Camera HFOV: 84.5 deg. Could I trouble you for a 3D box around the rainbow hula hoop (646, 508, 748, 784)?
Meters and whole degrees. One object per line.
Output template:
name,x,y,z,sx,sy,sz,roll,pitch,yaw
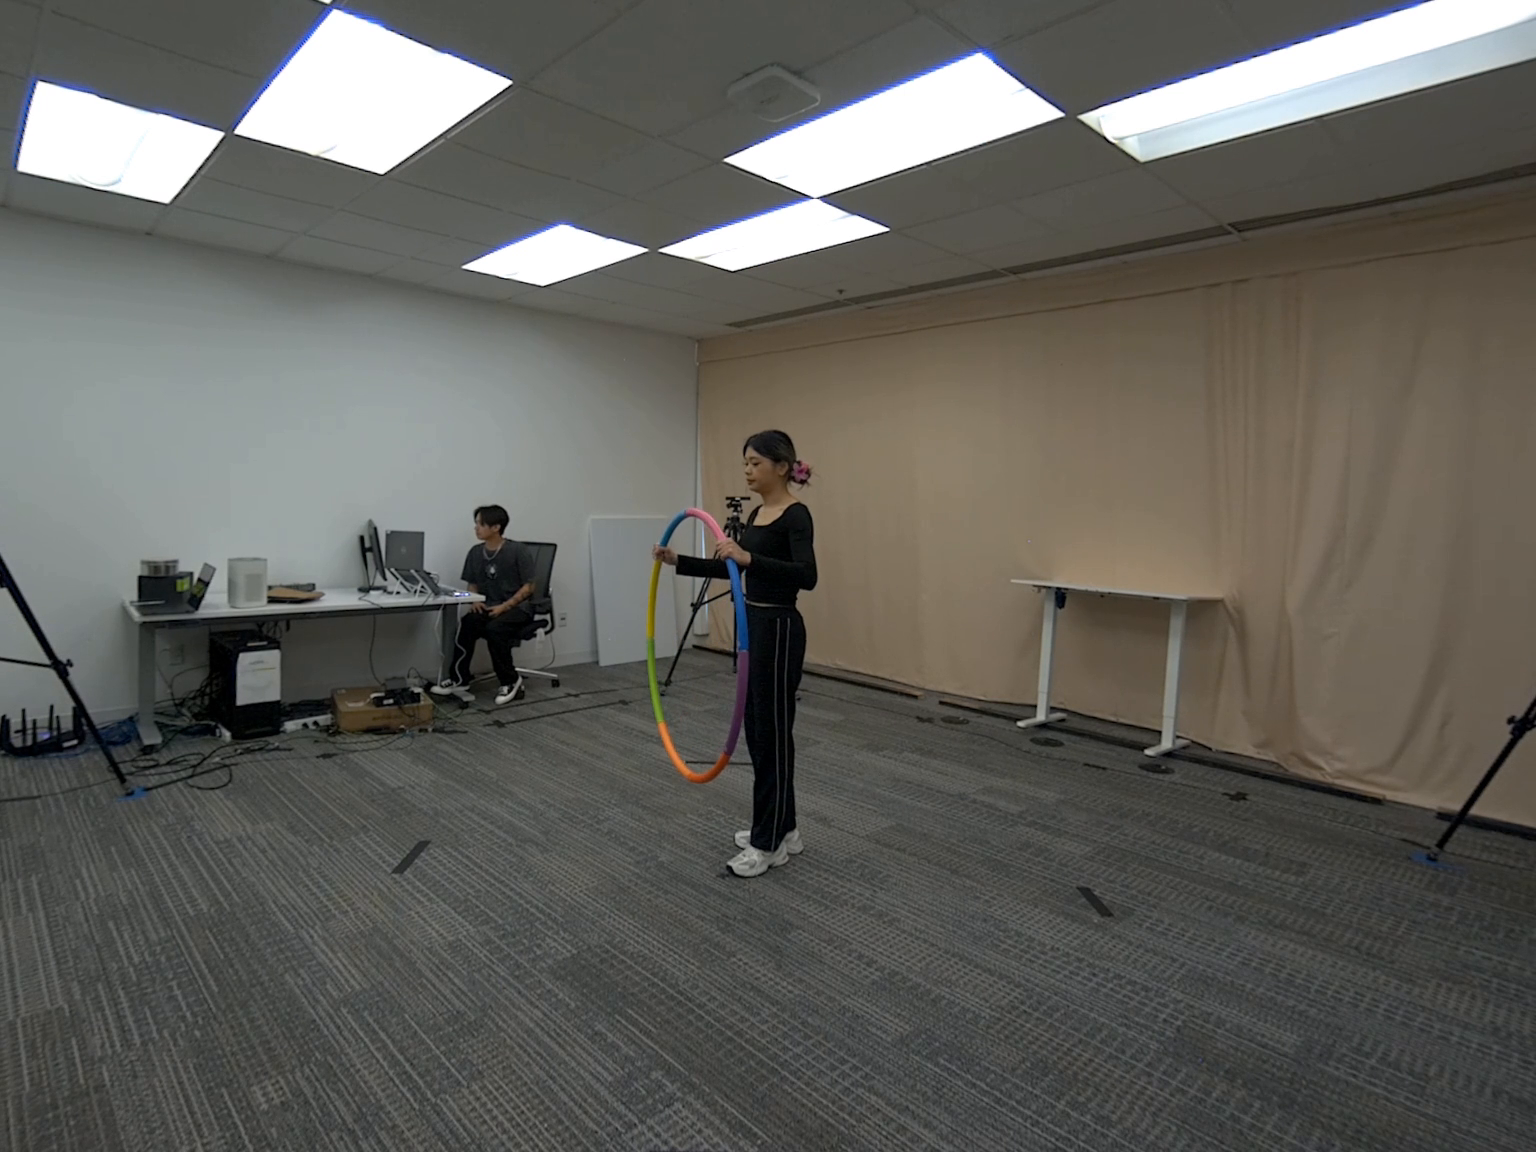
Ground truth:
rainbow hula hoop,-0.292,0.255,3.100,0.035,0.976,0.999,0,4,-25
